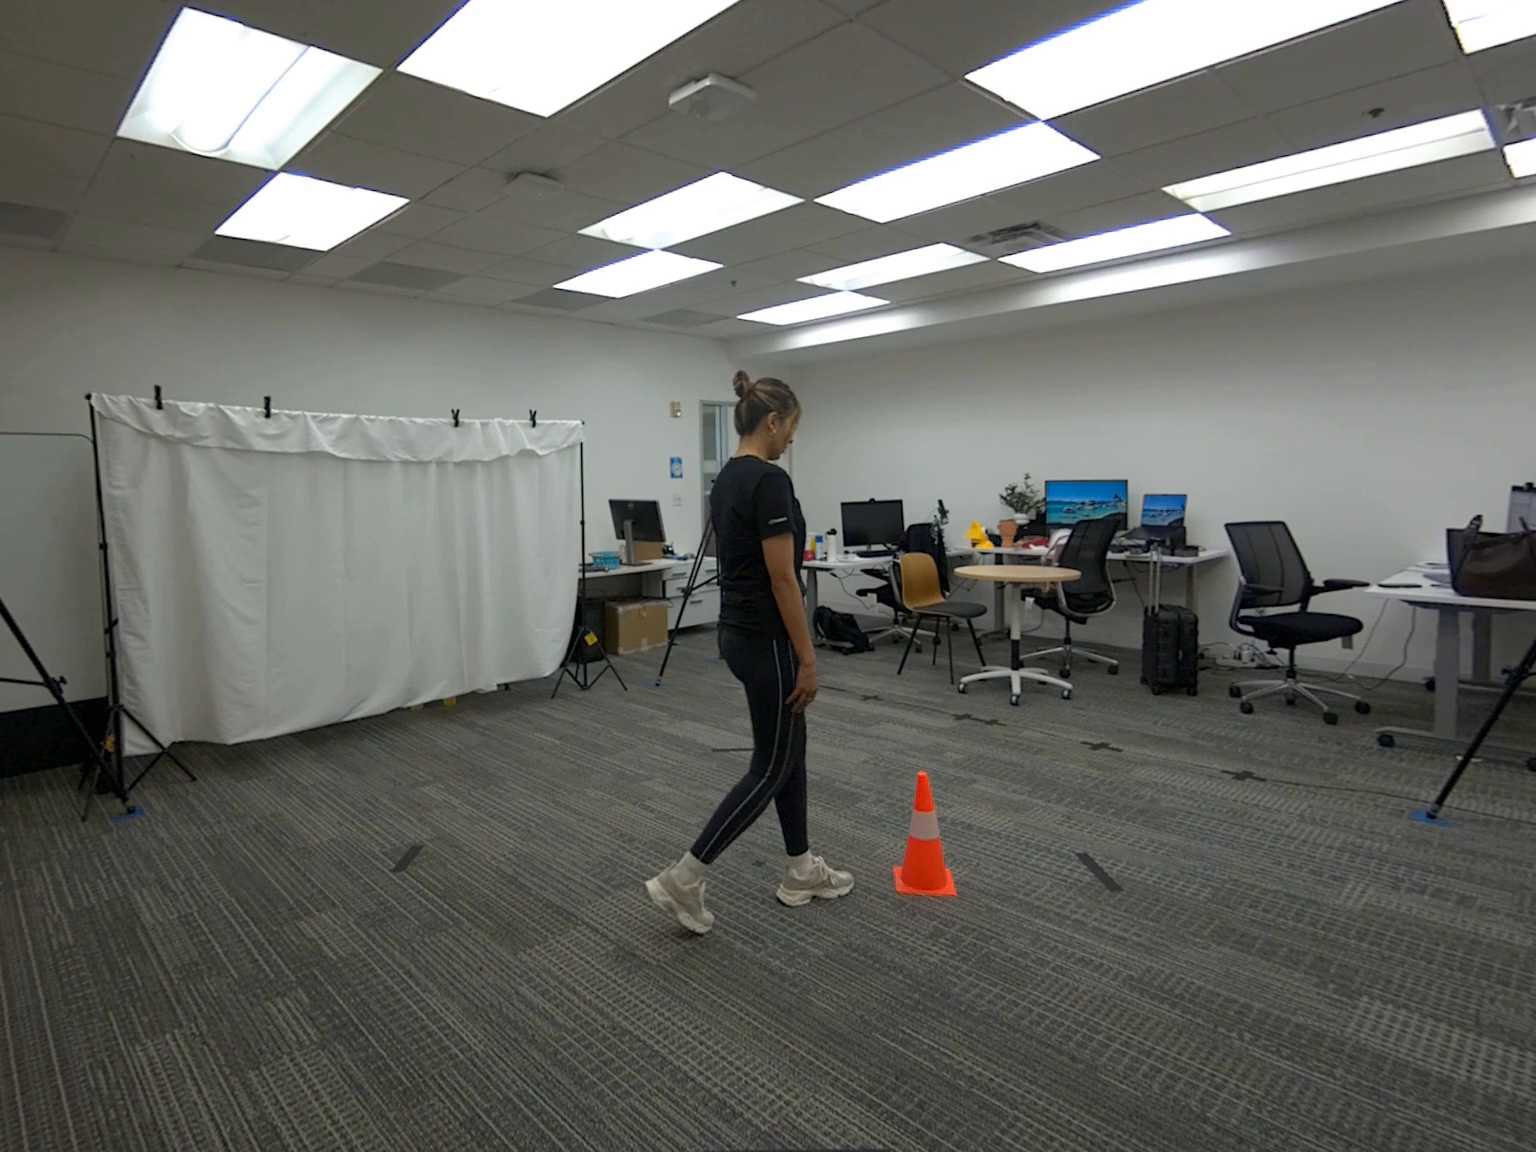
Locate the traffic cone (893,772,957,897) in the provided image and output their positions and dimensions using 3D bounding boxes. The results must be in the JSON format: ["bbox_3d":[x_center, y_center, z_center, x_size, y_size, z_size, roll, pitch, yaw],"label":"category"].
[{"bbox_3d":[0.540,0.869,2.936,0.205,0.382,0.204,-2,5,8],"label":"traffic cone"}]
